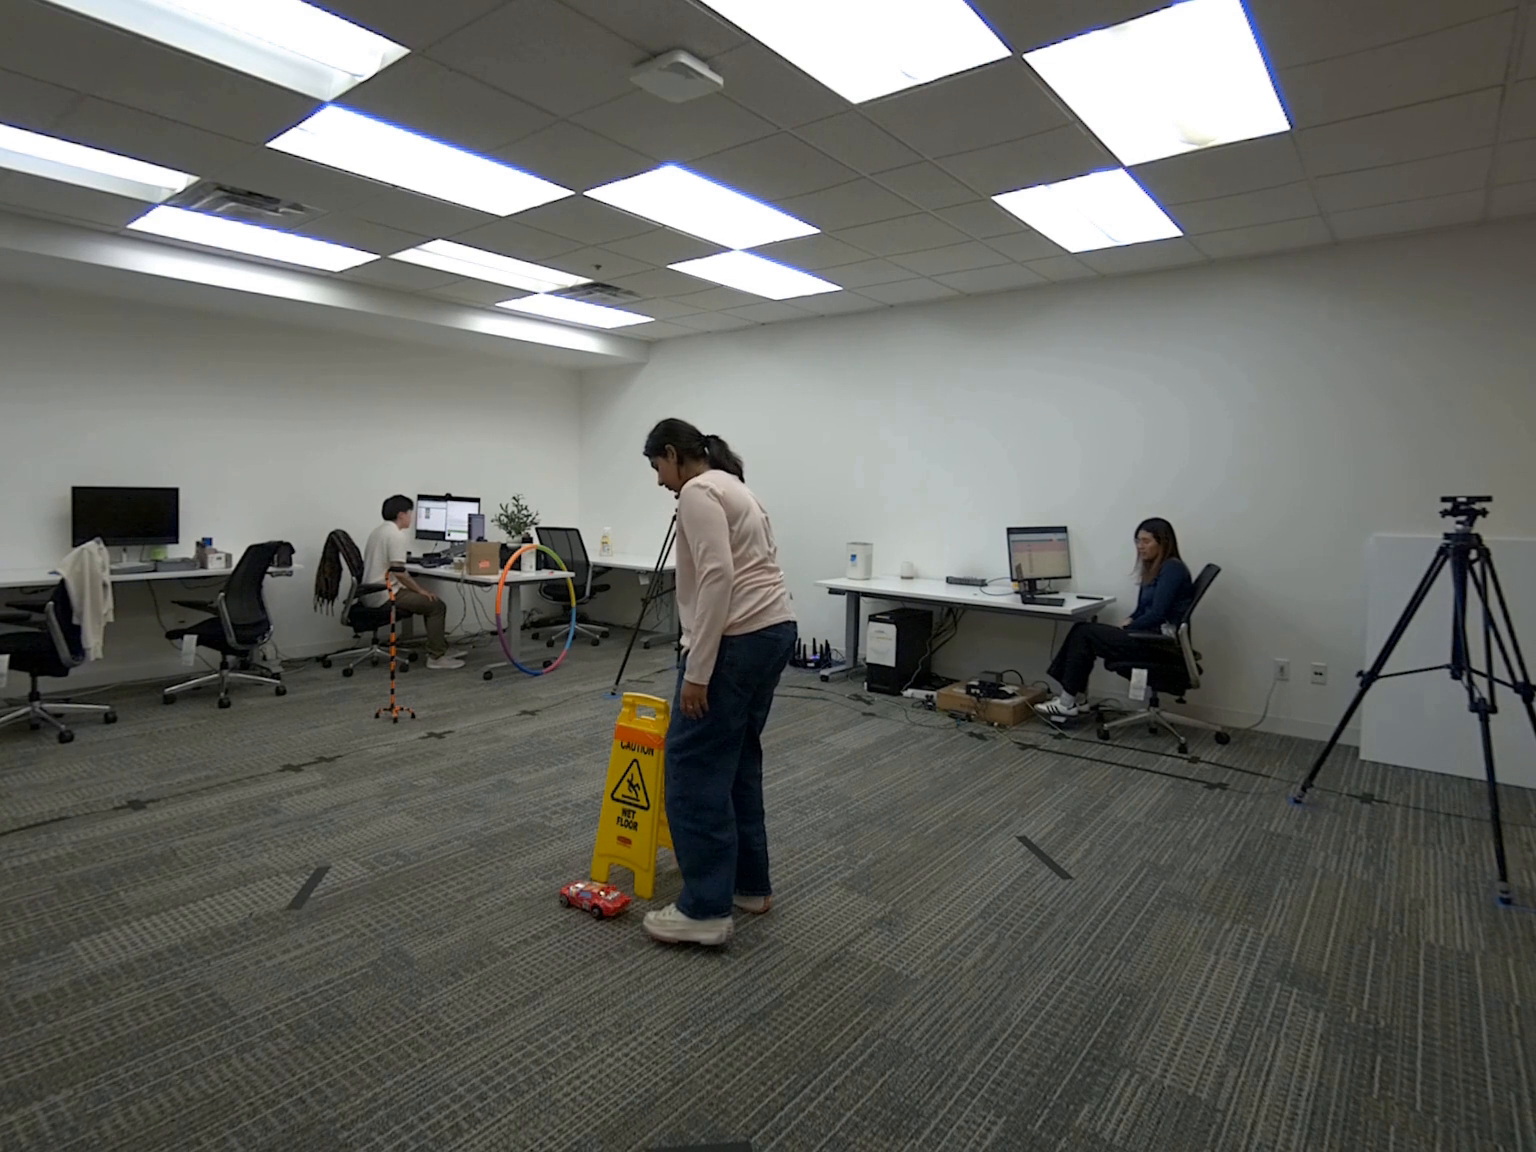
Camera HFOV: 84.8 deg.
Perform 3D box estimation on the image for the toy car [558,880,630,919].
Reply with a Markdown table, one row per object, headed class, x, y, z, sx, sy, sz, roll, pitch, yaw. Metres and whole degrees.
| class | x | y | z | sx | sy | sz | roll | pitch | yaw |
| --- | --- | --- | --- | --- | --- | --- | --- | --- | --- |
| toy car | -0.579 | 1.063 | 2.800 | 0.261 | 0.083 | 0.127 | -8 | -2 | 33 |
